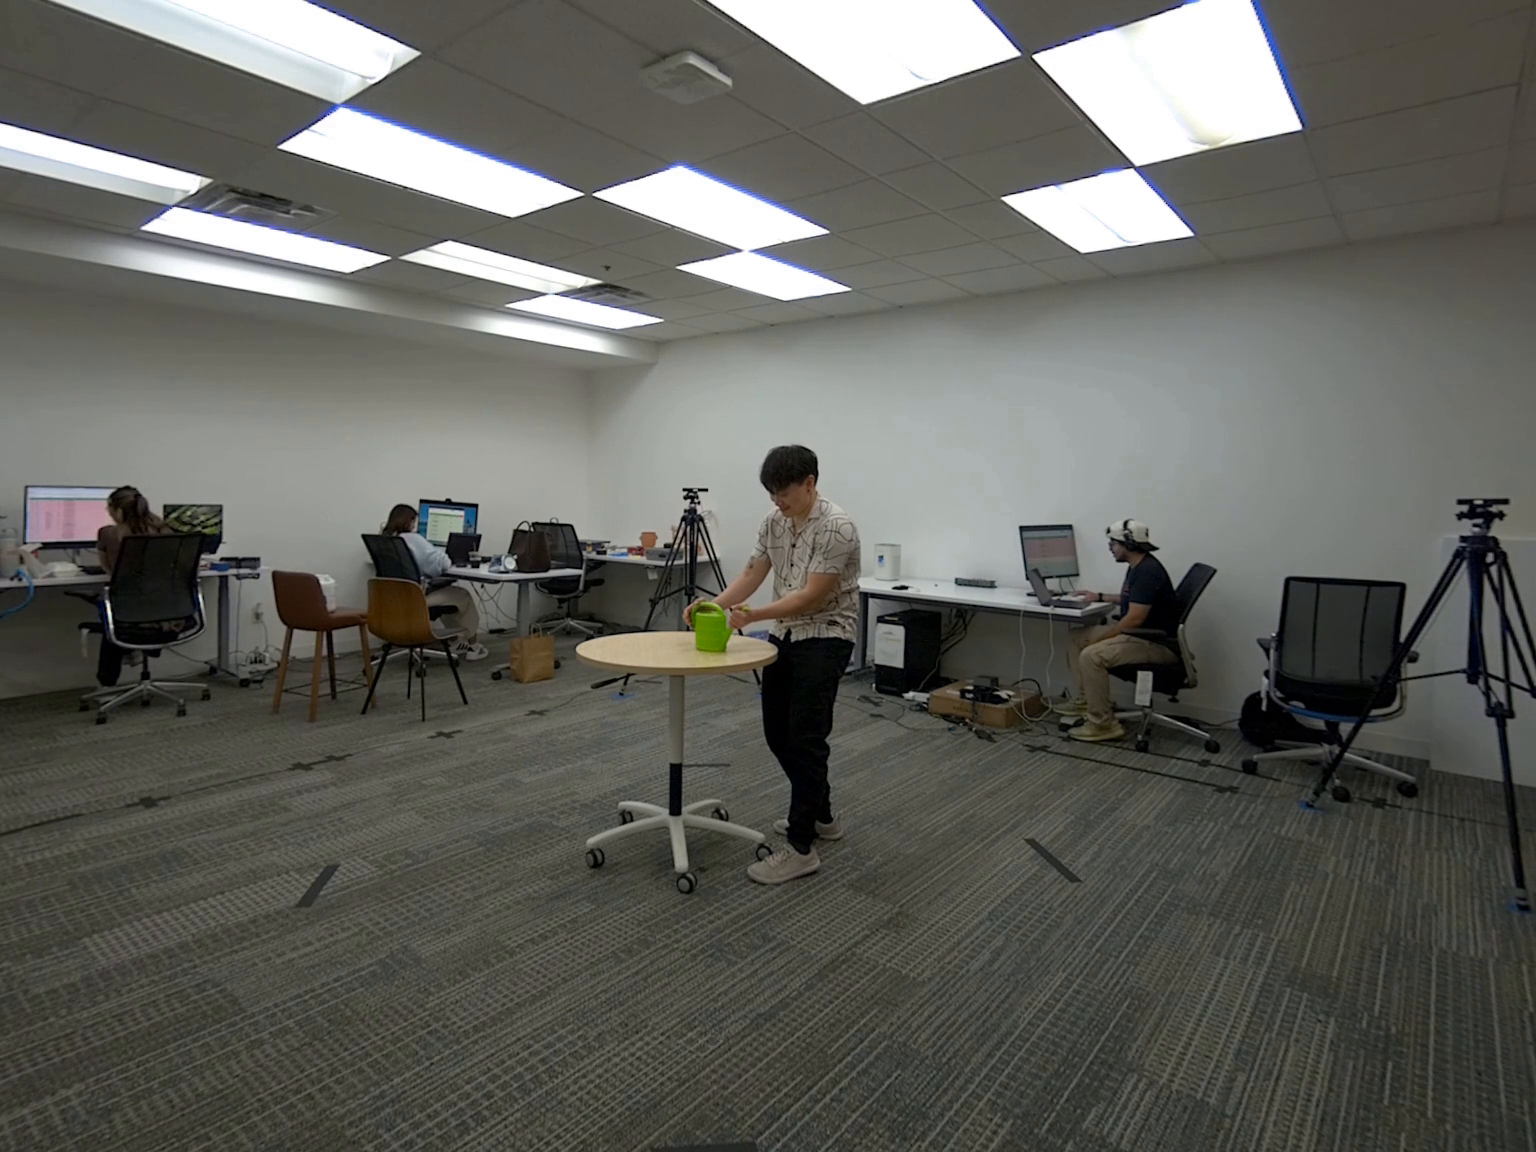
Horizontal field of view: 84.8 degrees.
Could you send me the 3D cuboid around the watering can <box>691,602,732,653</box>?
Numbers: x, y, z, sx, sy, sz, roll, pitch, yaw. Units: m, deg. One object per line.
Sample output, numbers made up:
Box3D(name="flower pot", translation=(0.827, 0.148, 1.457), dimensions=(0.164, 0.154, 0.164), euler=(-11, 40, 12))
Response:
Box3D(name="watering can", translation=(-0.197, 0.192, 3.173), dimensions=(0.095, 0.175, 0.288), euler=(-11, 12, -44))
